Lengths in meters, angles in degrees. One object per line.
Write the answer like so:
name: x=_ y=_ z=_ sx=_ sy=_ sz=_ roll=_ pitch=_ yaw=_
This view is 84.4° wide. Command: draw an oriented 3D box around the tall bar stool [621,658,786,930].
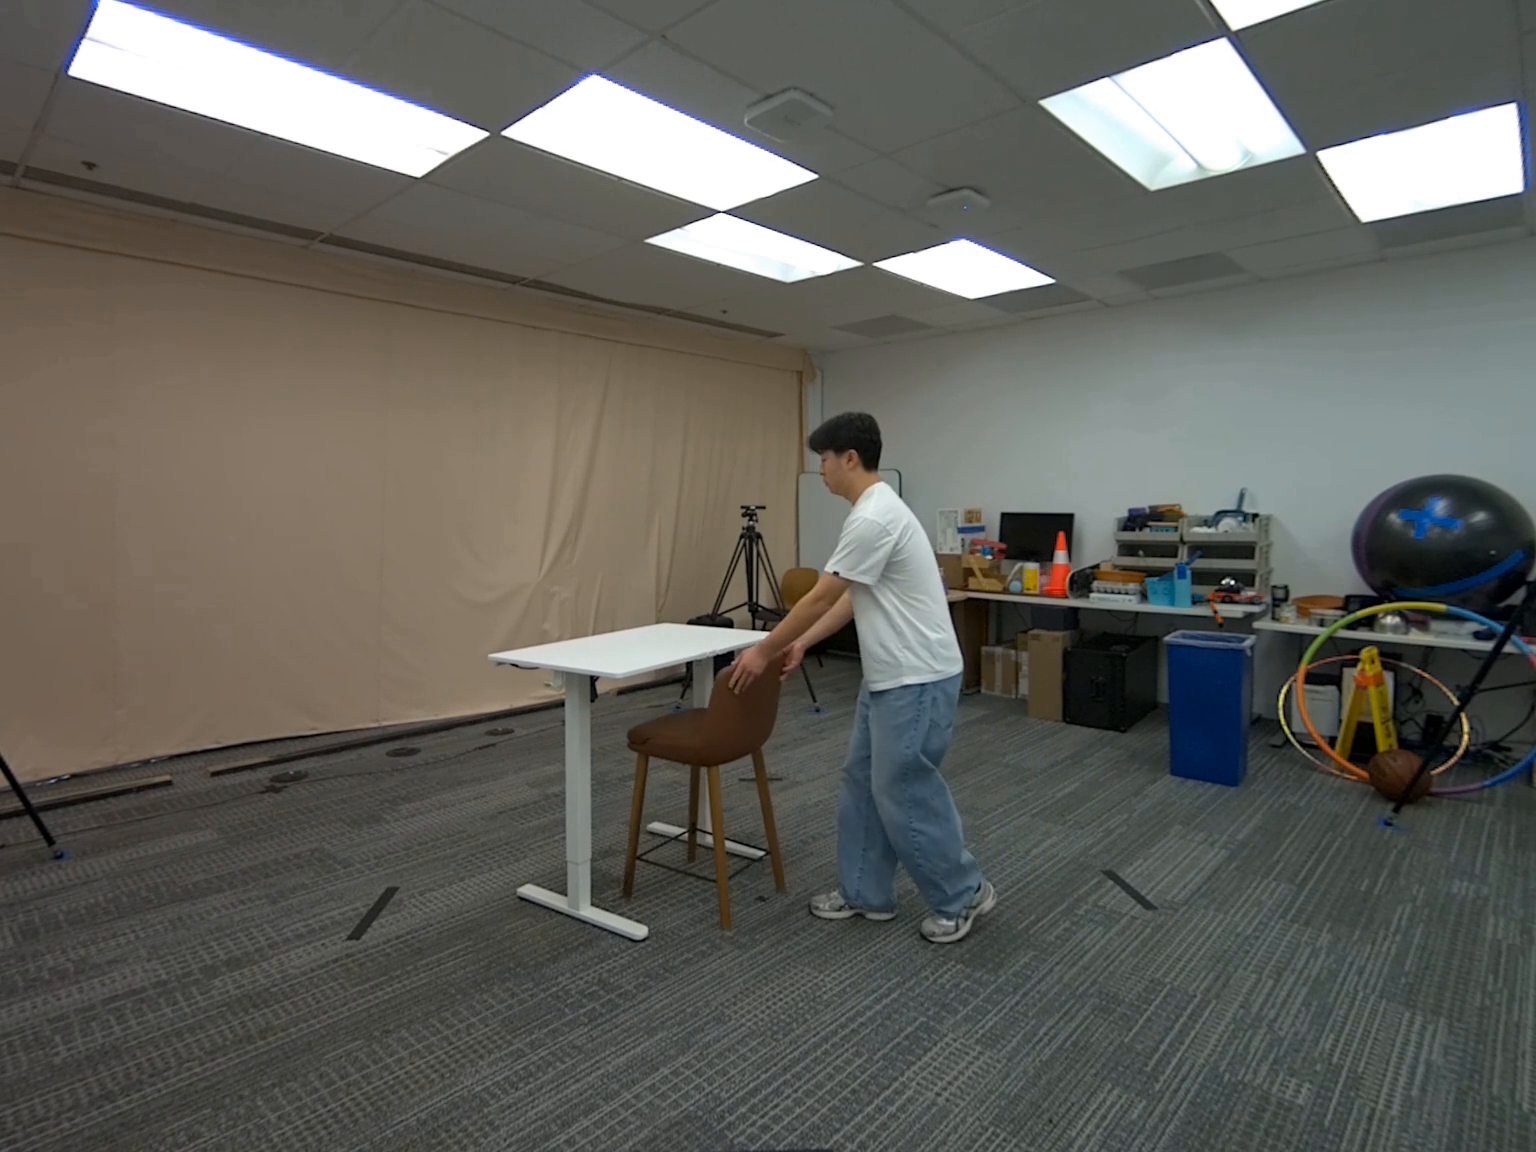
tall bar stool: x=-0.202 y=0.706 z=3.005 sx=0.483 sy=0.887 sz=0.443 roll=5 pitch=6 yaw=35
